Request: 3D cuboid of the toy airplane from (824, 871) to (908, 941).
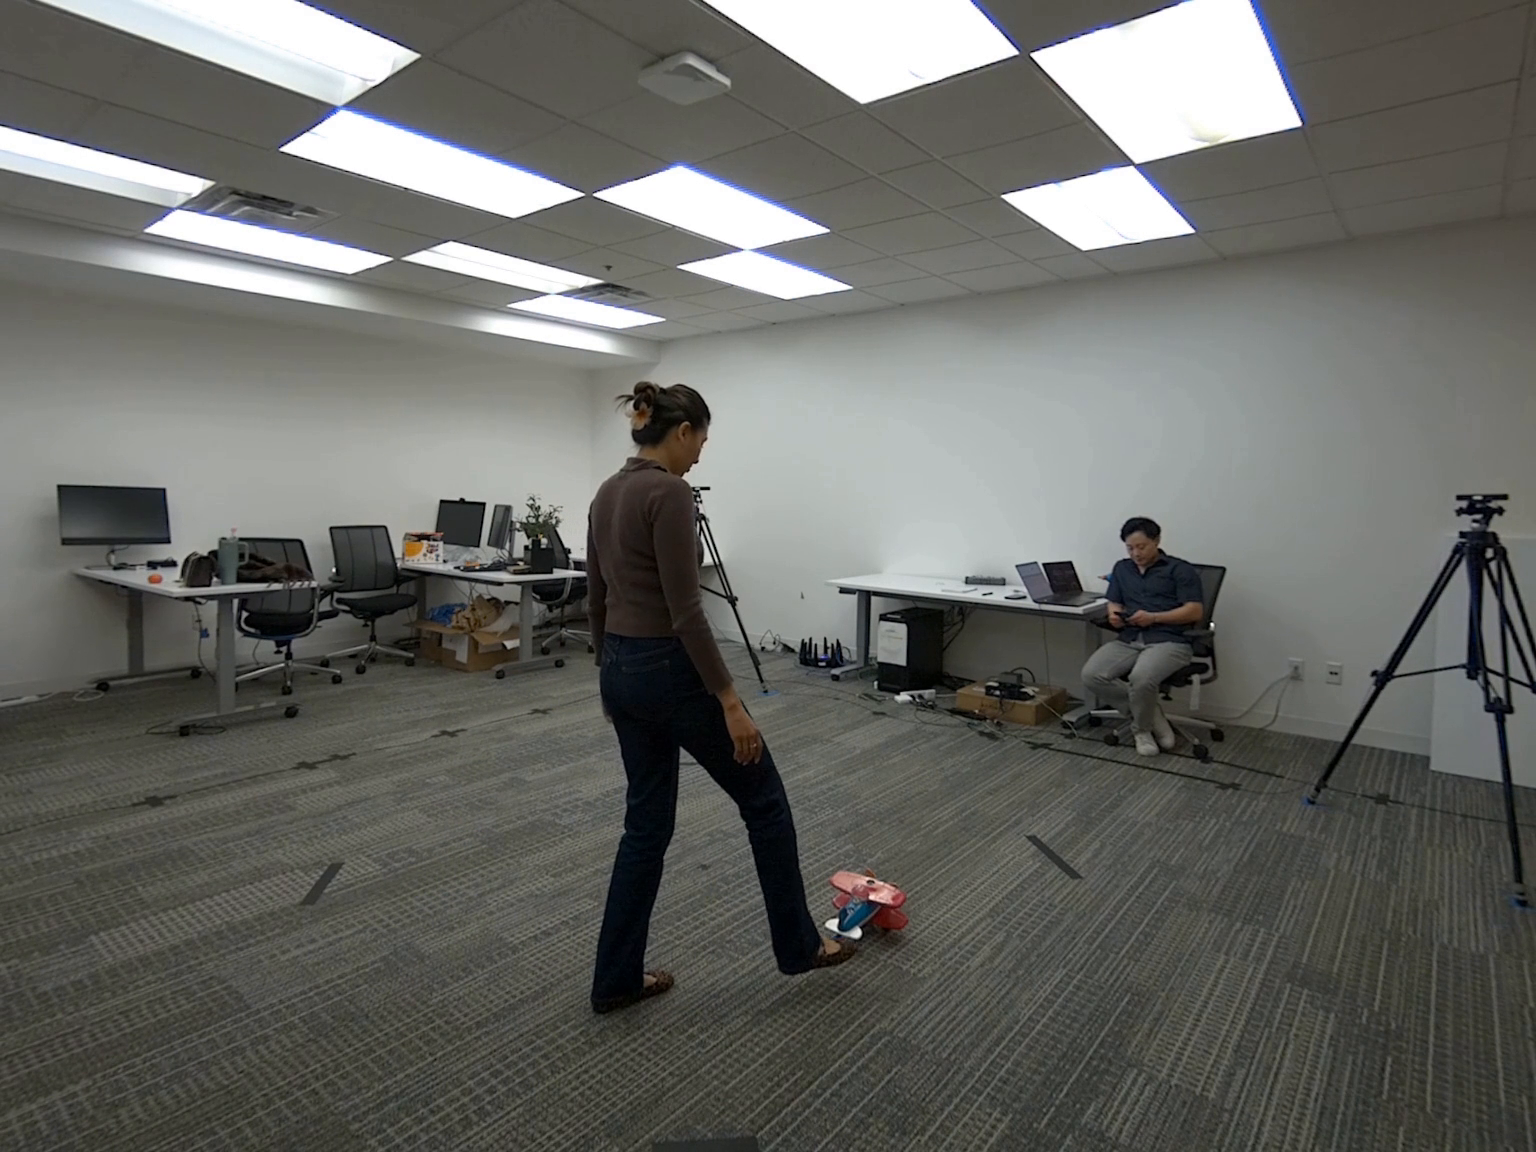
[{"bbox_3d":[0.302,1.044,2.647,0.254,0.156,0.256,3,4,11],"label":"toy airplane"}]
